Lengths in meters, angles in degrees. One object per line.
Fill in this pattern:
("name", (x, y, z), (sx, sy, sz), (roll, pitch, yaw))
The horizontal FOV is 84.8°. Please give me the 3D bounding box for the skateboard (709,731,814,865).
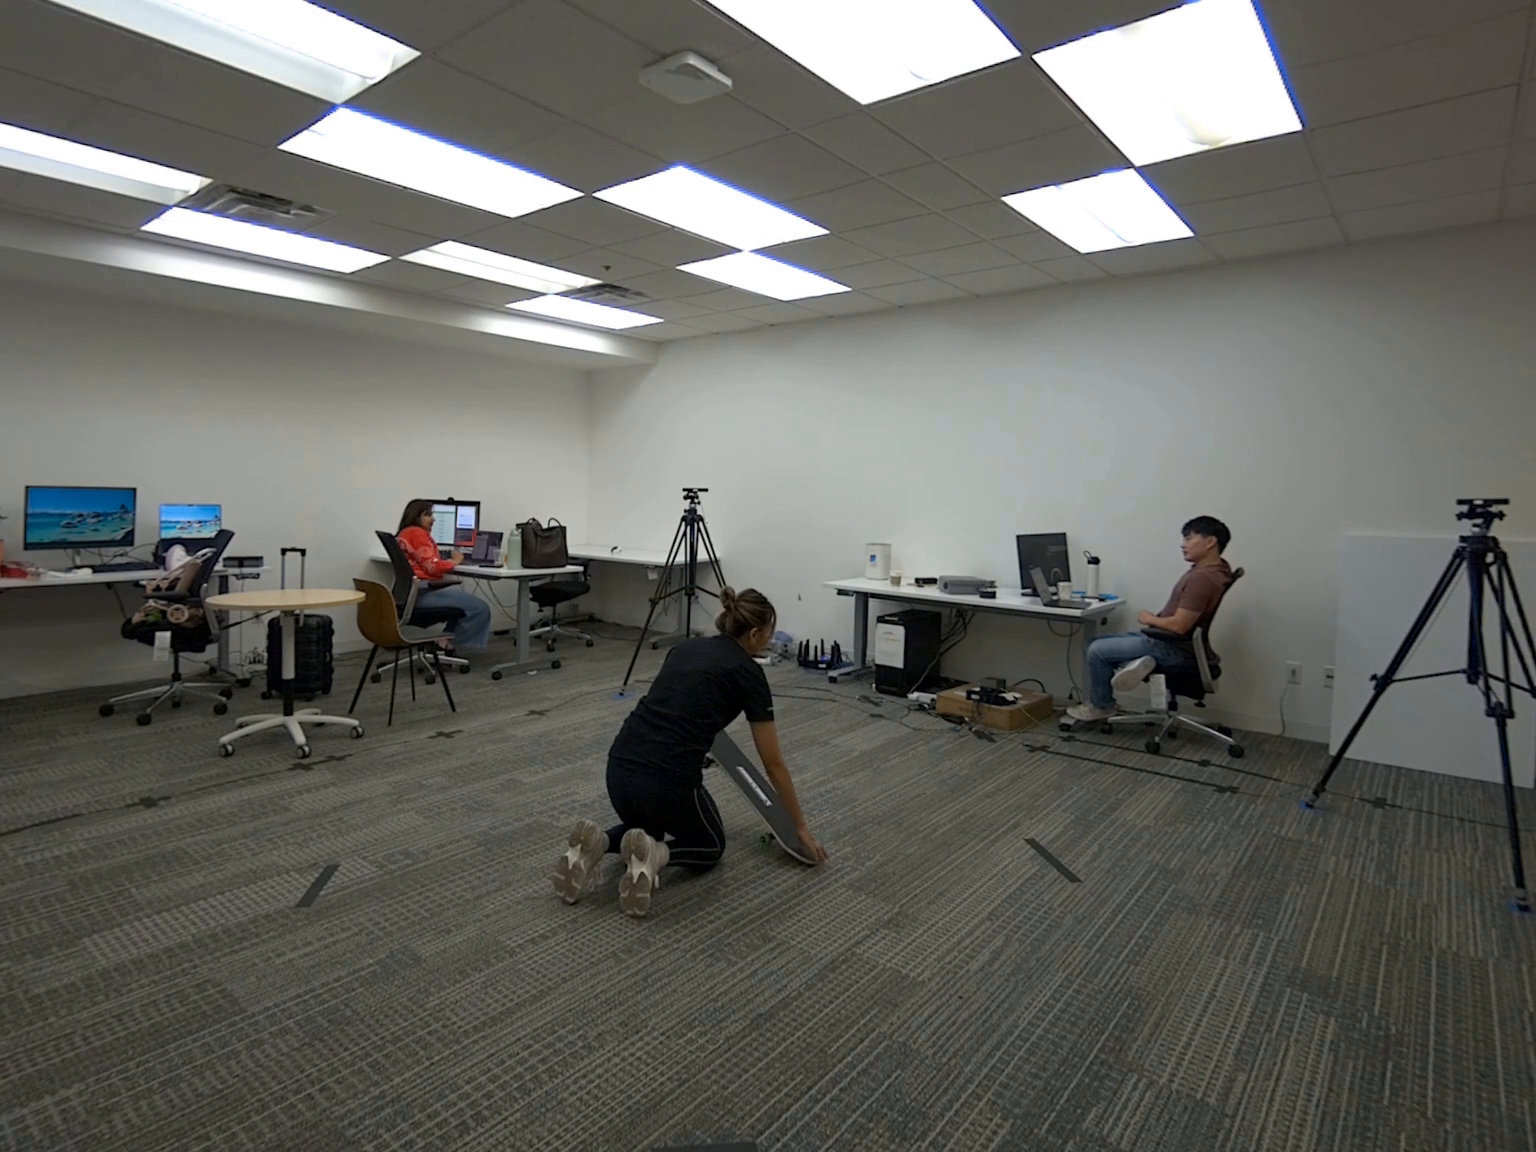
("skateboard", (-0.084, 0.857, 3.402), (0.187, 0.110, 0.817), (8, 31, -52))
